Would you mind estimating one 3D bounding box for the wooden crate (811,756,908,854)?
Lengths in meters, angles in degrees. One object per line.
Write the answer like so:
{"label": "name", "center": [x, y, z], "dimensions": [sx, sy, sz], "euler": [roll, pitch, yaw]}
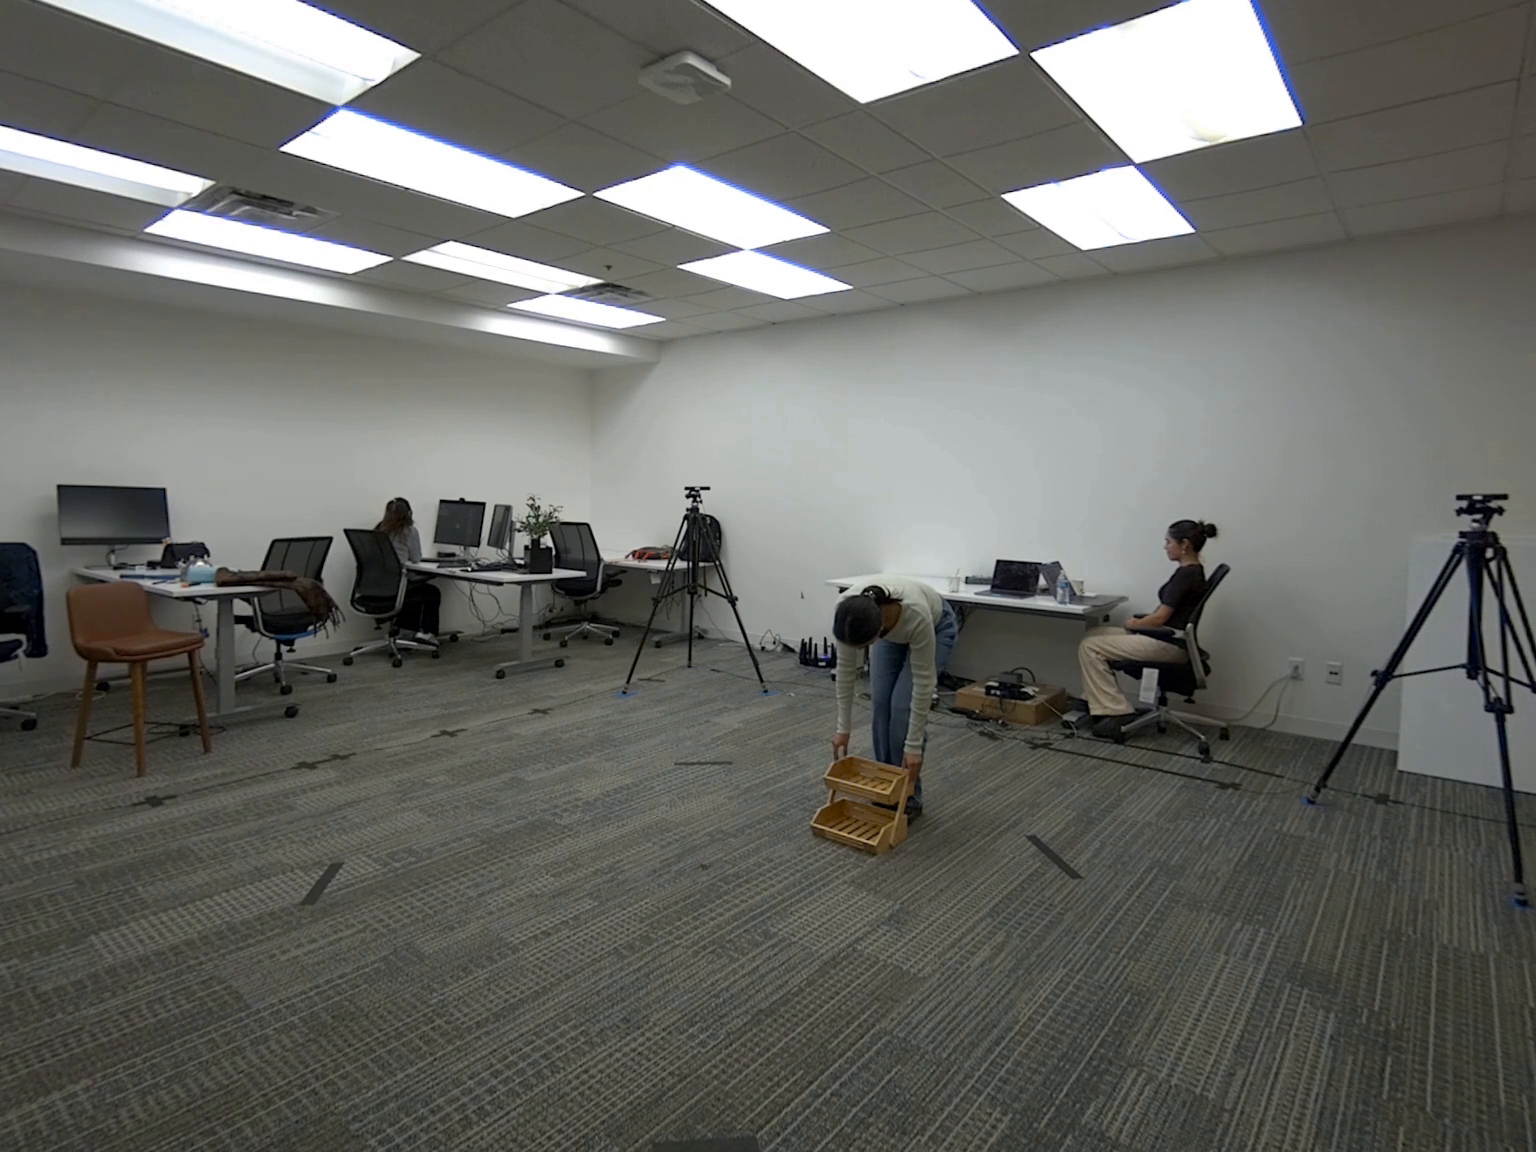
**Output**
{"label": "wooden crate", "center": [0.374, 0.907, 3.431], "dimensions": [0.335, 0.273, 0.293], "euler": [4, 4, 38]}
